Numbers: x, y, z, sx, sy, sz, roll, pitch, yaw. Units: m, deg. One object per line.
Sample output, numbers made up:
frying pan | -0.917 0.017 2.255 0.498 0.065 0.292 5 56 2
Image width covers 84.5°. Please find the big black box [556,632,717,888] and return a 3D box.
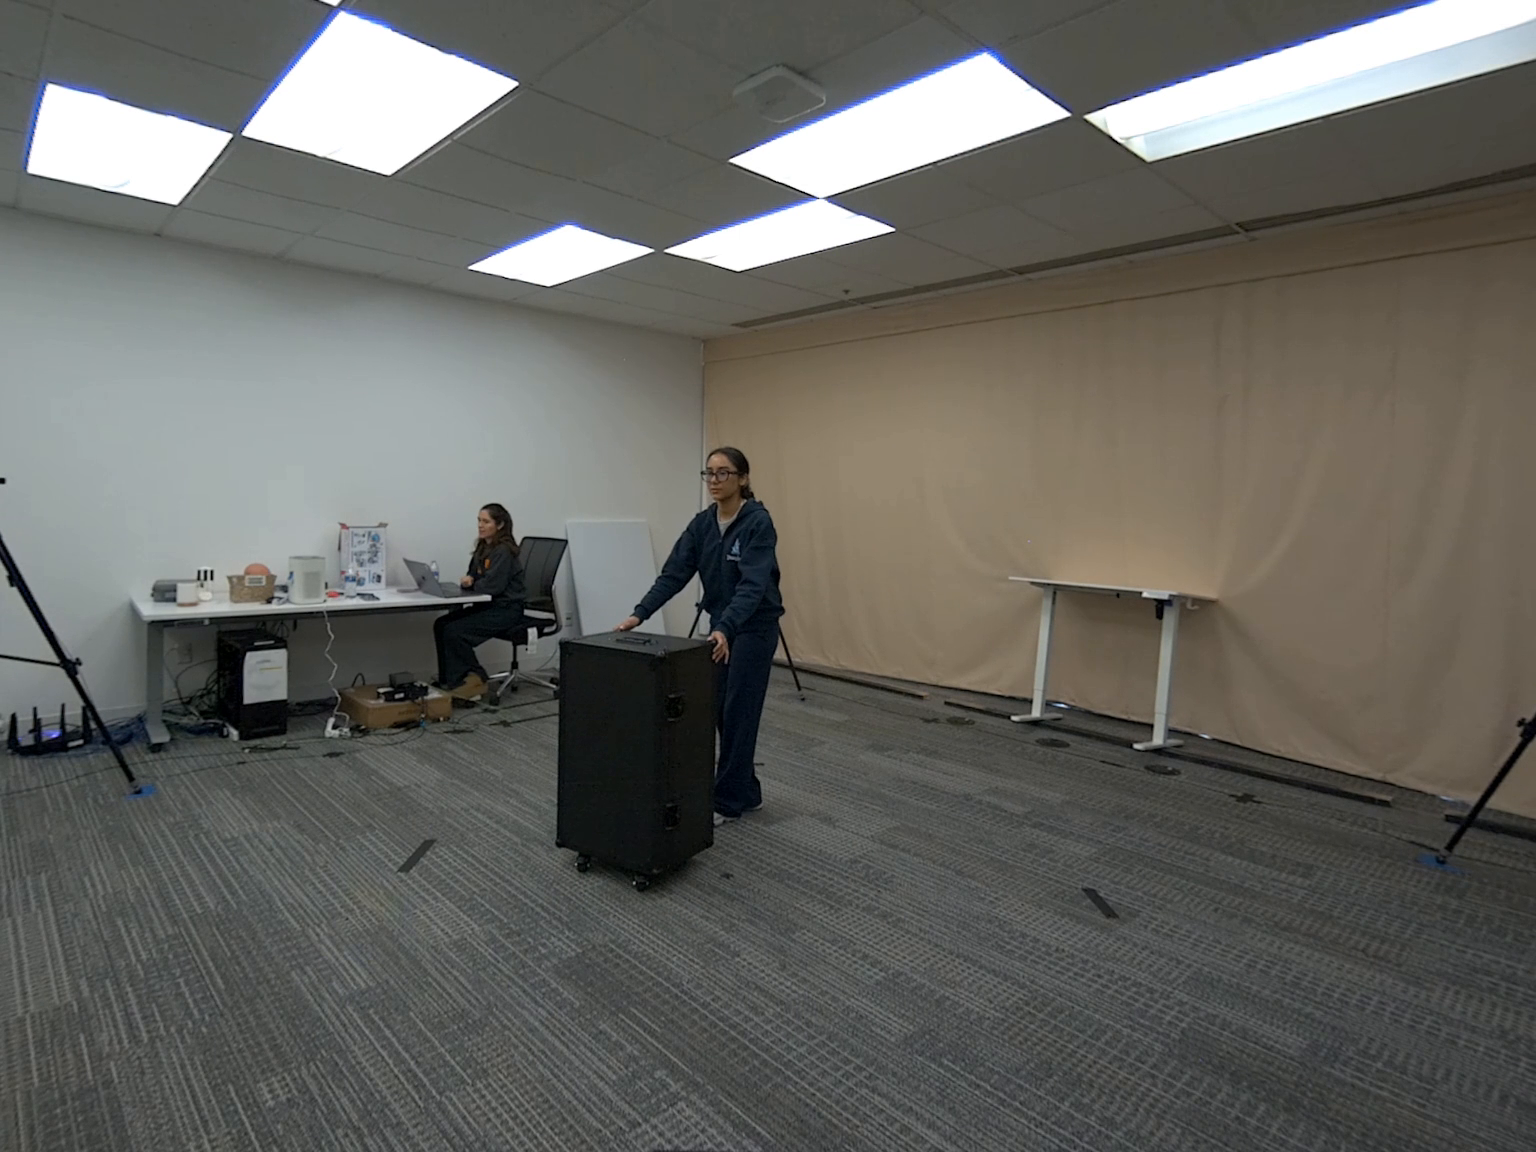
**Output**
big black box | -0.498 0.670 3.175 0.533 0.860 0.388 3 2 31
